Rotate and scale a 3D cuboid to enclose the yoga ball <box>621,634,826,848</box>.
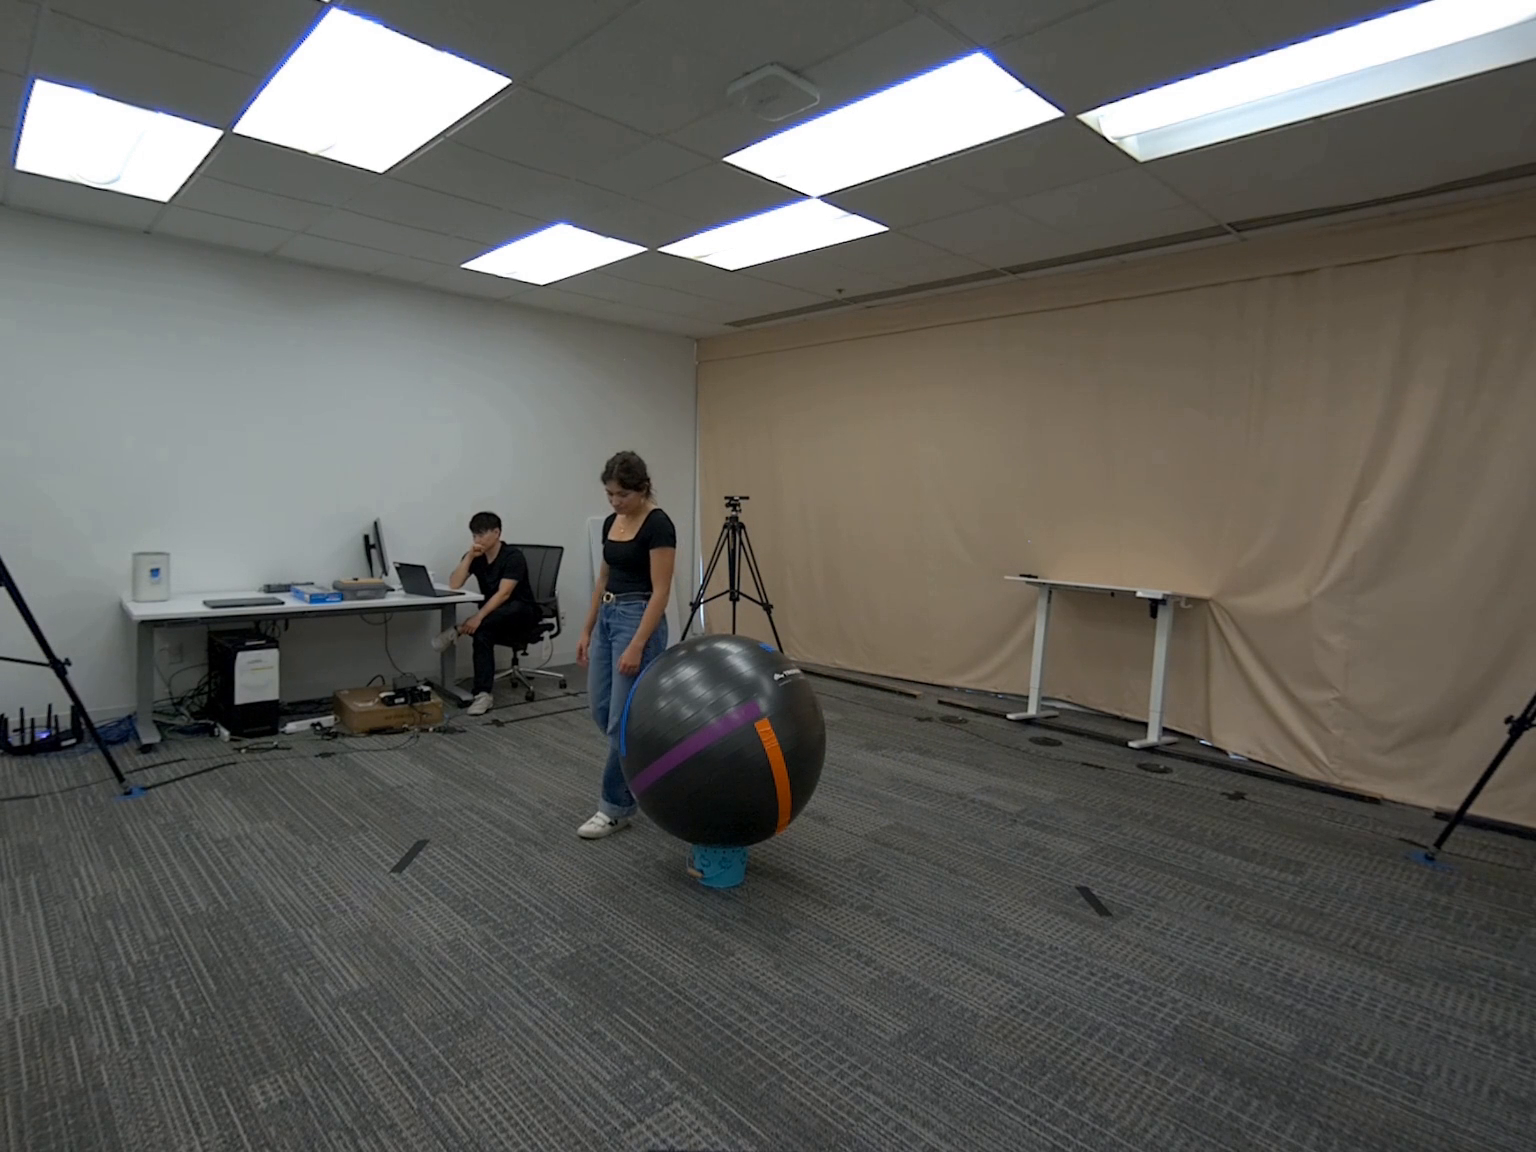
[{"bbox_3d":[-0.169,0.592,3.067,0.757,0.756,0.760,1,4,-1],"label":"yoga ball"}]
